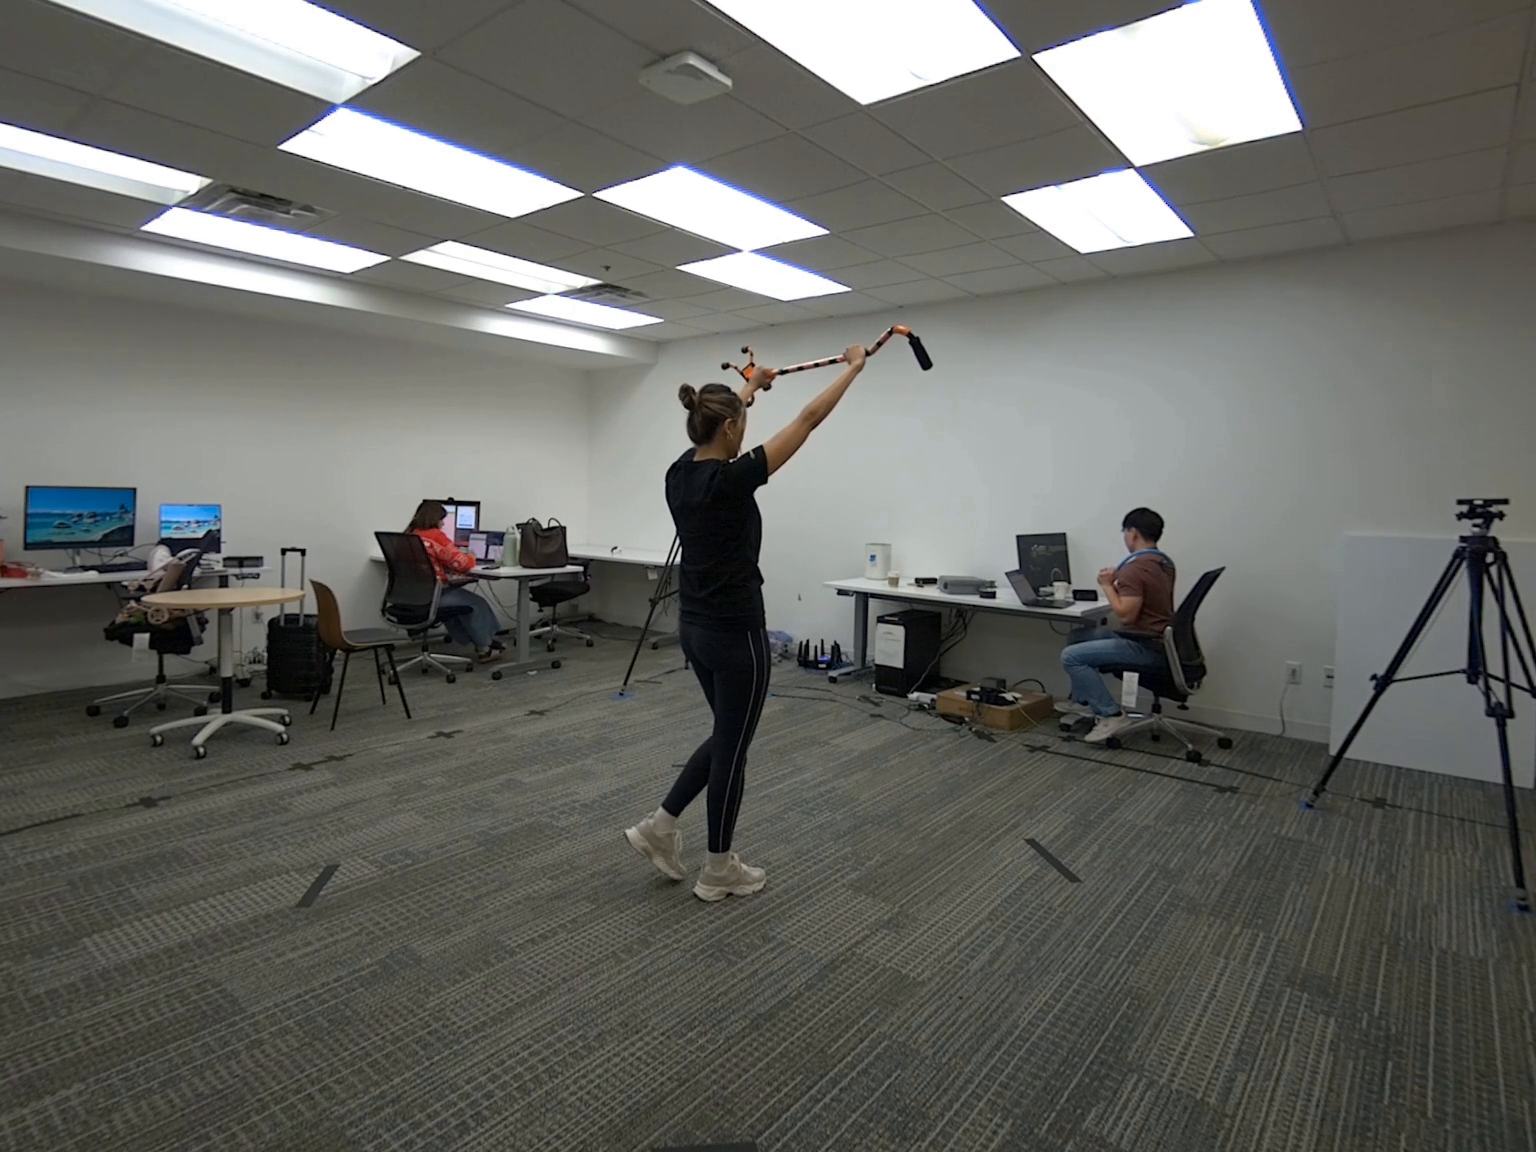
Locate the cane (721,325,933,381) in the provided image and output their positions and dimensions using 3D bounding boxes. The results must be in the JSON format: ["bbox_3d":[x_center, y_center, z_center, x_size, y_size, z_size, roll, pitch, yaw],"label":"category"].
[{"bbox_3d":[0.182,-0.766,3.009,0.151,0.200,0.938,-44,28,-26],"label":"cane"}]
